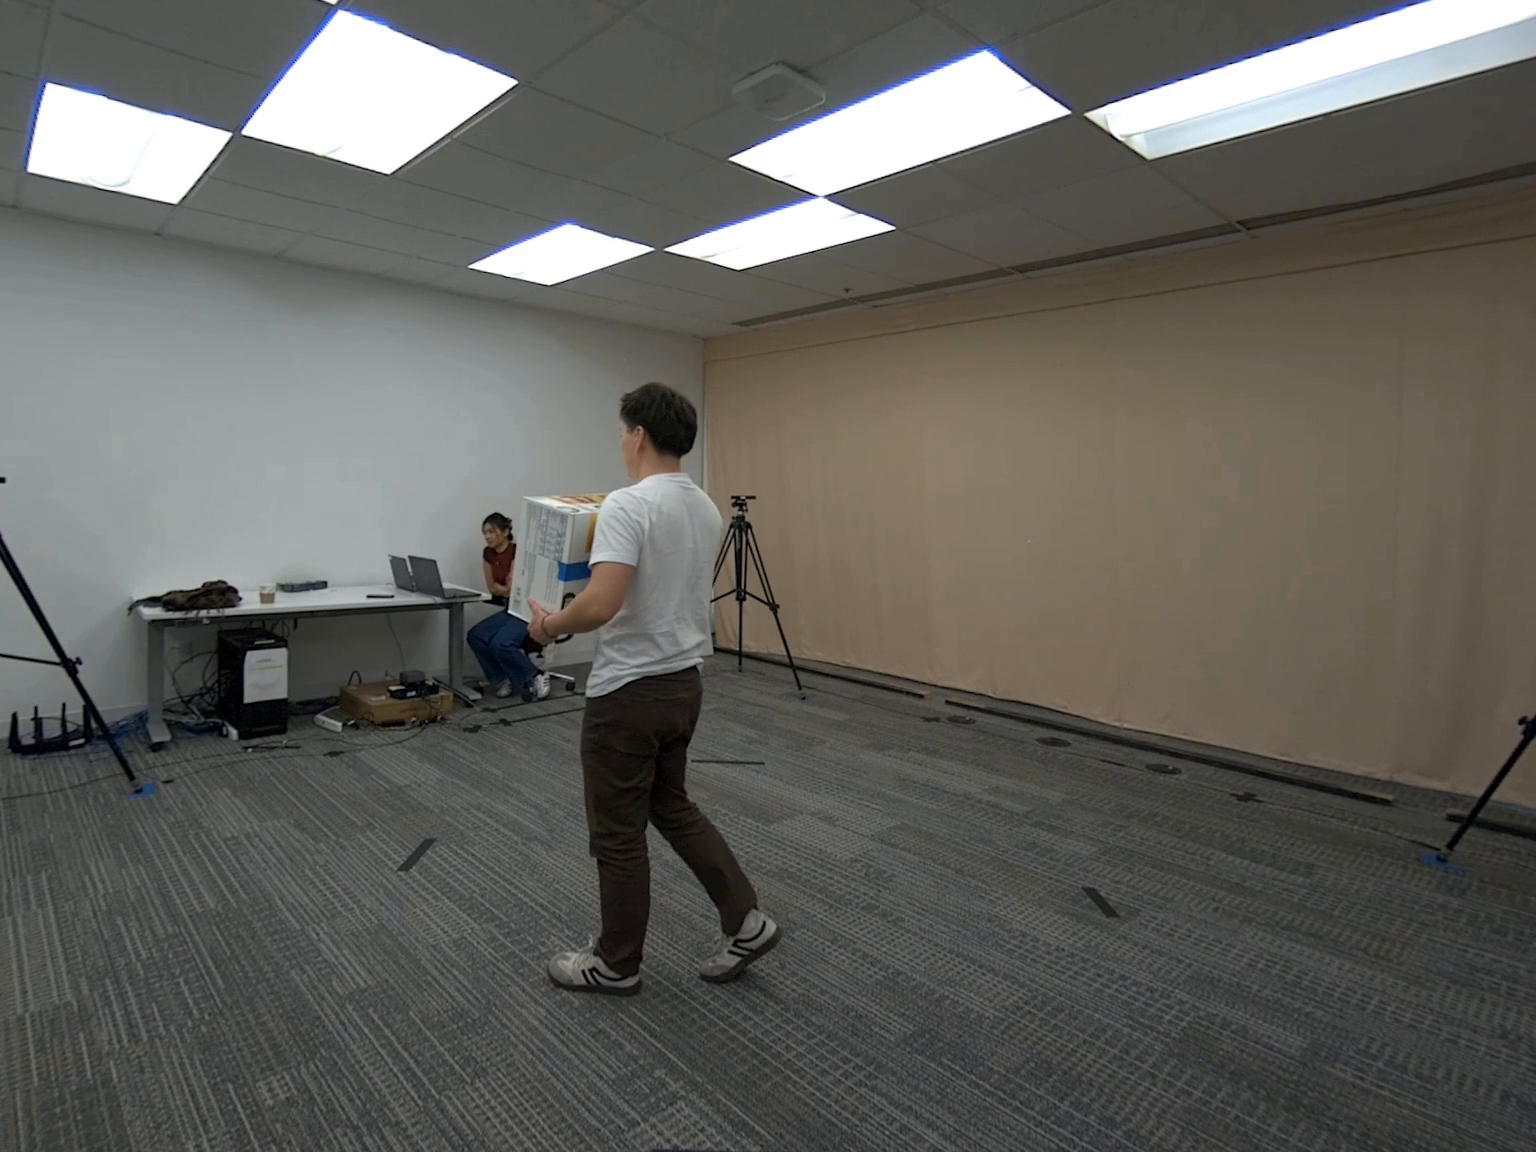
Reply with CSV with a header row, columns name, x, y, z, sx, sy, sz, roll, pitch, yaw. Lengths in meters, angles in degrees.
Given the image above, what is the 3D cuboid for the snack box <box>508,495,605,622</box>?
name,x,y,z,sx,sy,sz,roll,pitch,yaw
snack box,-0.507,-0.046,2.452,0.211,0.338,0.397,17,14,32
